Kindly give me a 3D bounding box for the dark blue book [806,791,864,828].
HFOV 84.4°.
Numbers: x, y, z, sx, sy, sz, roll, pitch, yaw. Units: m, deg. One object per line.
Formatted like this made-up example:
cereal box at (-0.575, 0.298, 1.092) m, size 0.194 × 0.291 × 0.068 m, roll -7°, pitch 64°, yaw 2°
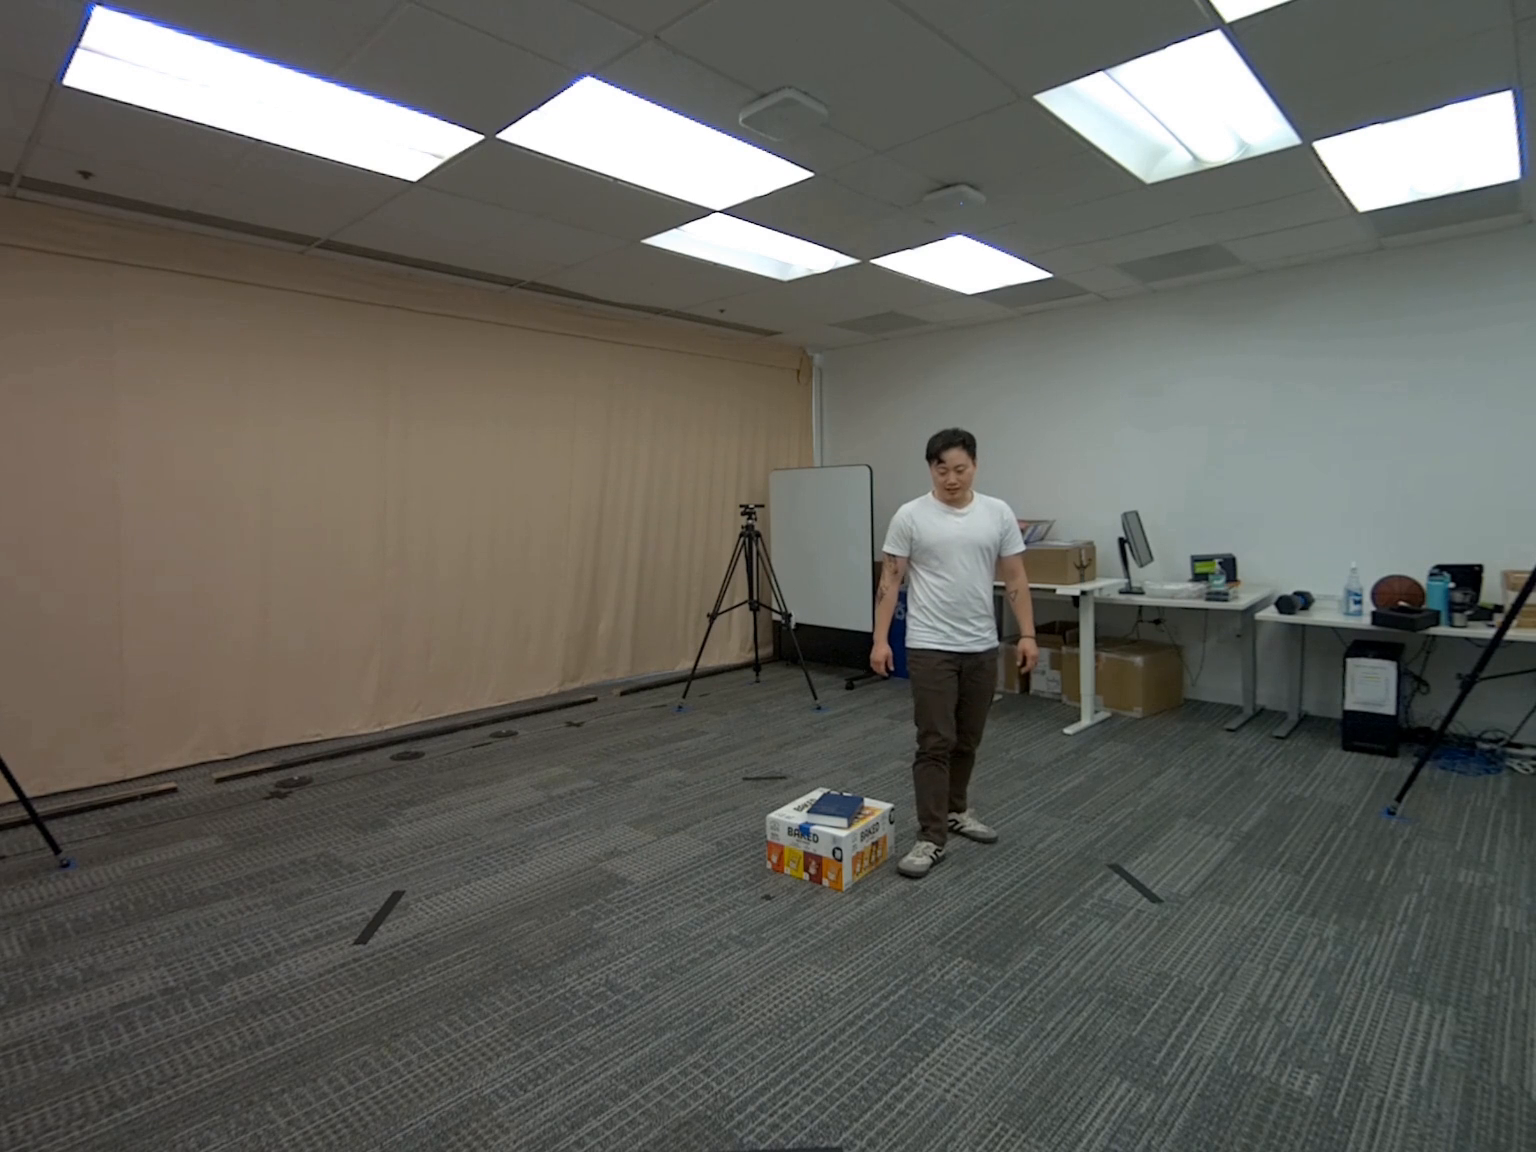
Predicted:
dark blue book at (0.272, 0.895, 3.227) m, size 0.167 × 0.045 × 0.240 m, roll 0°, pitch 4°, yaw 22°
